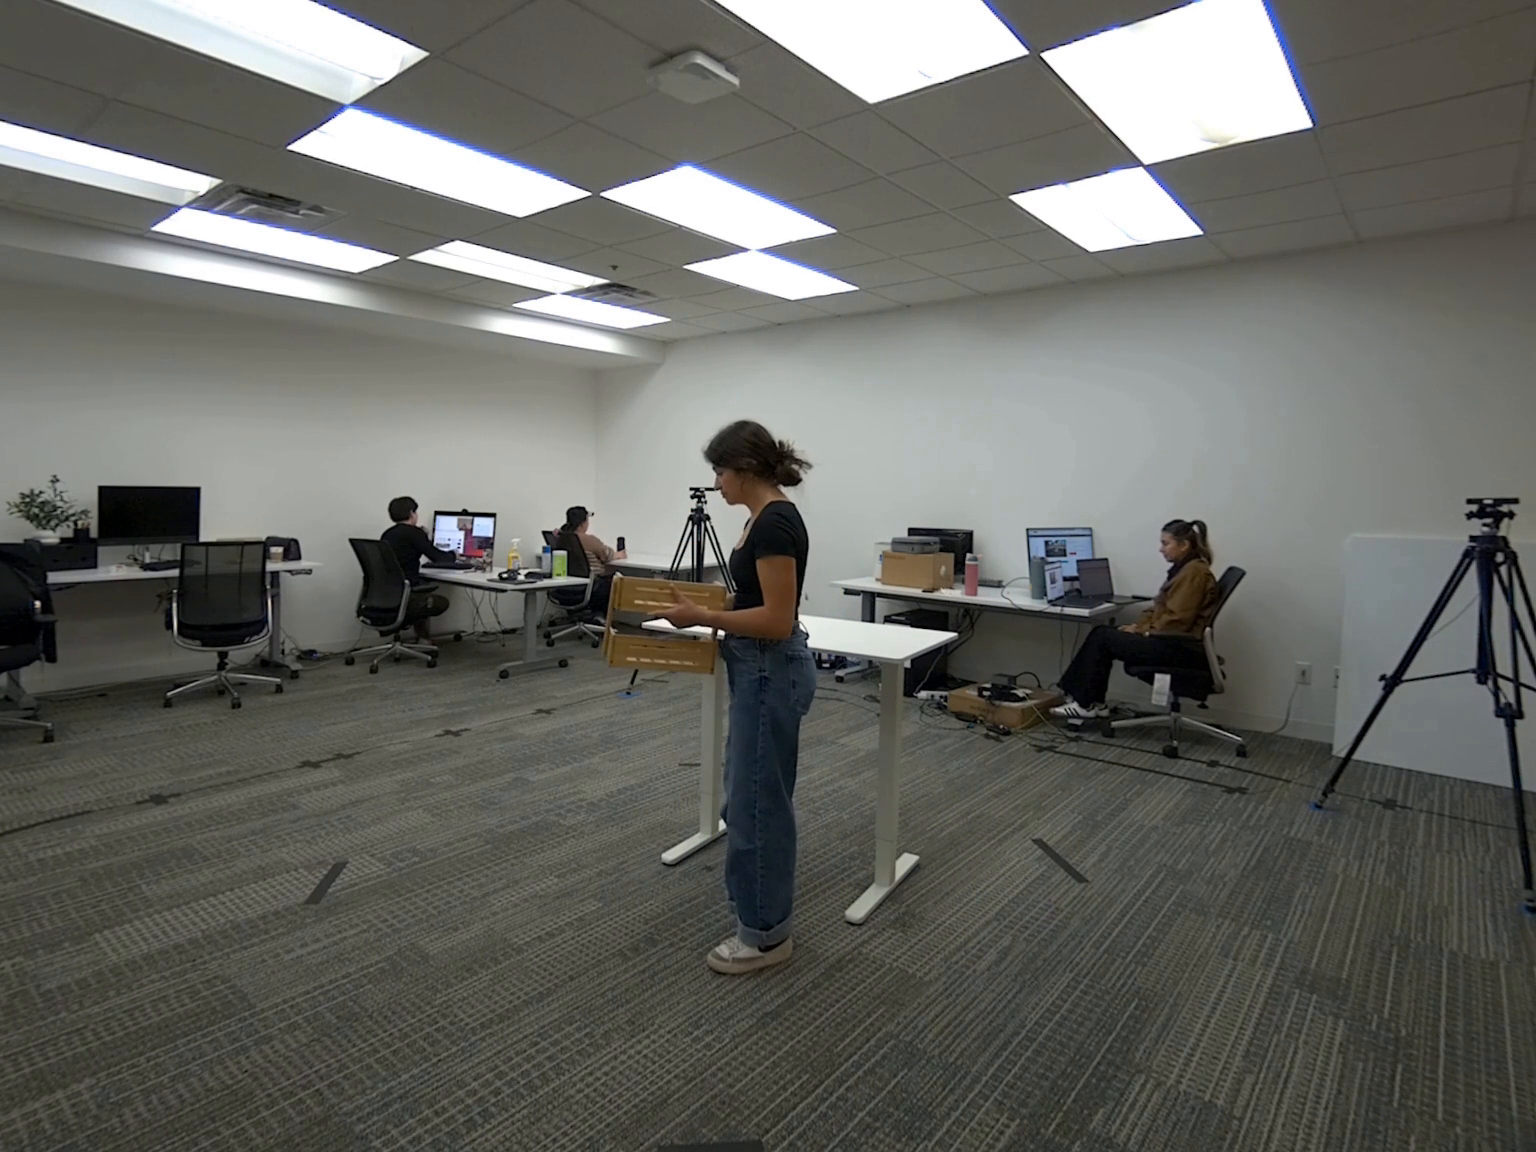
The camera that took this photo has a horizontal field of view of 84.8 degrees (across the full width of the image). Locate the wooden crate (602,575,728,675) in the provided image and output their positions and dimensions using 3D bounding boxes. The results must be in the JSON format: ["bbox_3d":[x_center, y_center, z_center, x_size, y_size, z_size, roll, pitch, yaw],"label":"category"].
[{"bbox_3d":[-0.323,0.116,2.534,0.320,0.272,0.307,5,4,-13],"label":"wooden crate"}]
